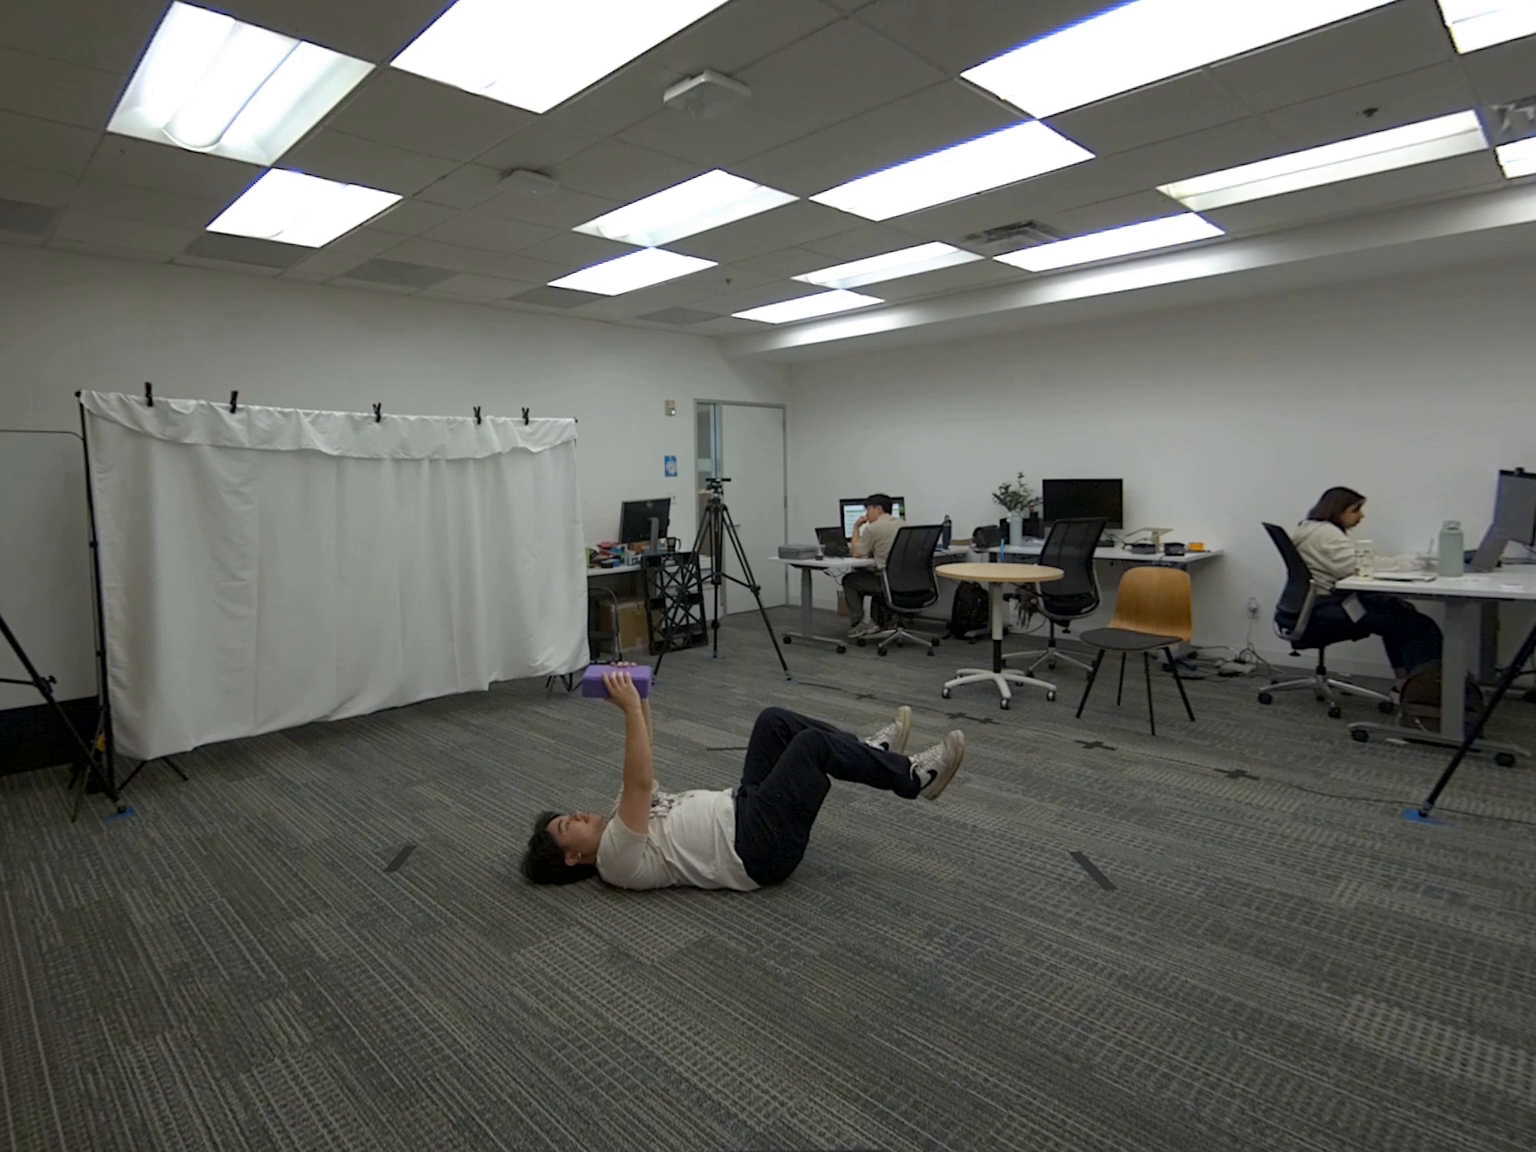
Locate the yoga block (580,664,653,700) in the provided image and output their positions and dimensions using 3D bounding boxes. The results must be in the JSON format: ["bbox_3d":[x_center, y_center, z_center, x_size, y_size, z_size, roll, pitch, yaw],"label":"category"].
[{"bbox_3d":[-0.526,0.371,2.987,0.229,0.076,0.150,1,9,-1],"label":"yoga block"}]
